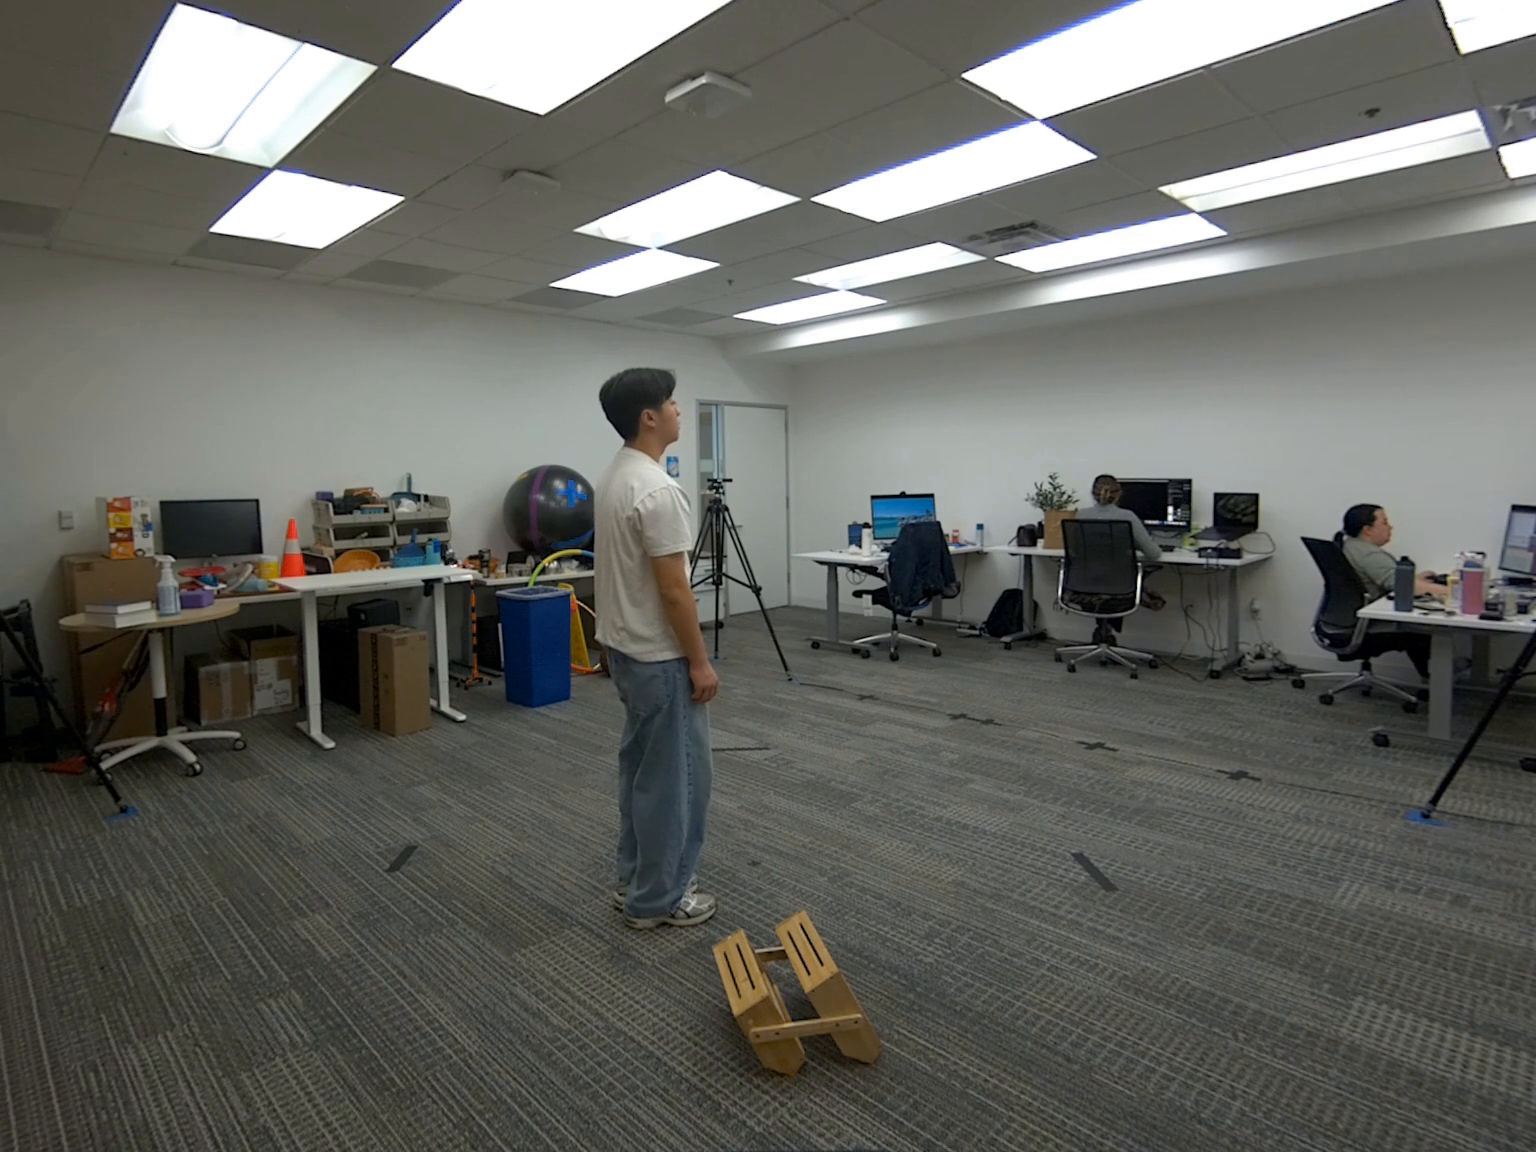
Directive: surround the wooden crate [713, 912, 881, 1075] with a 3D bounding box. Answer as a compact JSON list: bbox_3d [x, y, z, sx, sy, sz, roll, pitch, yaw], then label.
[{"bbox_3d":[0.075,1.067,2.148,0.272,0.298,0.329,-30,10,-8],"label":"wooden crate"}]
